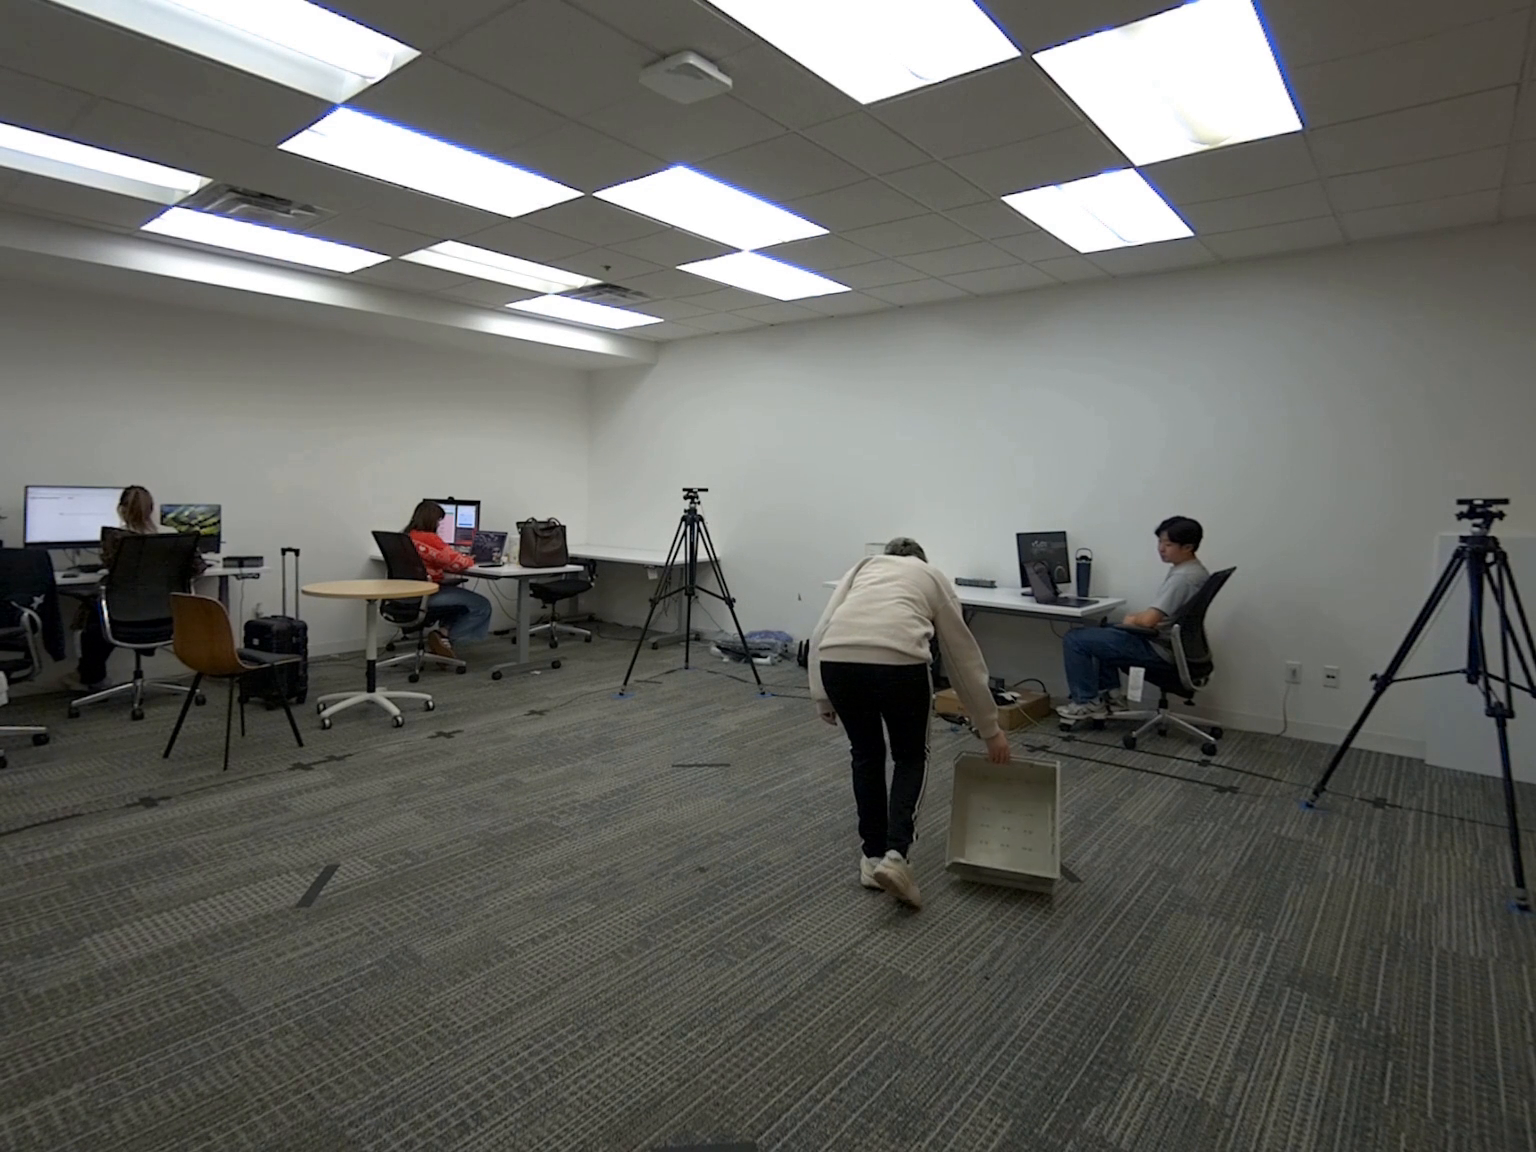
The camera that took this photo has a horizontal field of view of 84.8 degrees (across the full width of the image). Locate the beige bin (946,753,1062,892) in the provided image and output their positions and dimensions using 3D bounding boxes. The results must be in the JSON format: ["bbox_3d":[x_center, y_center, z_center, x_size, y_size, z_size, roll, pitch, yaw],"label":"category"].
[{"bbox_3d":[0.849,0.885,3.089,0.385,0.430,0.182,3,-38,17],"label":"beige bin"}]
